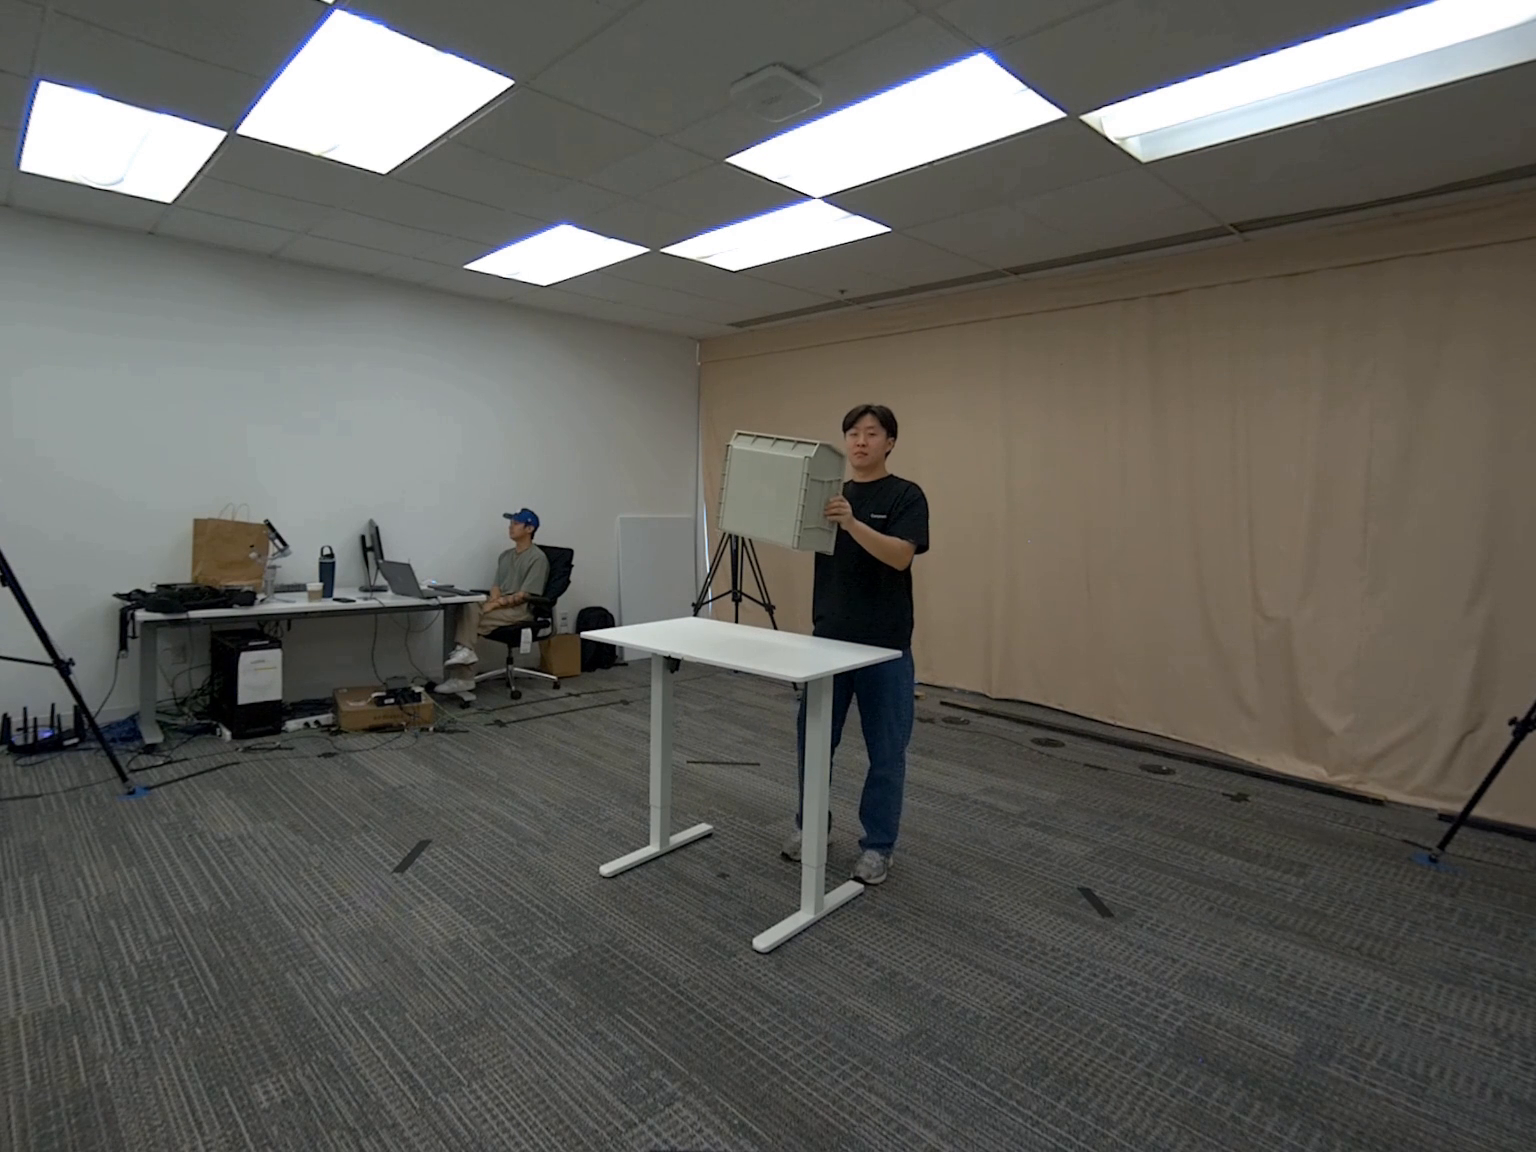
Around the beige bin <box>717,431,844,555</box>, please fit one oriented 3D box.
[{"bbox_3d":[0.032,-0.295,2.948,0.434,0.375,0.184,16,11,42],"label":"beige bin"}]
